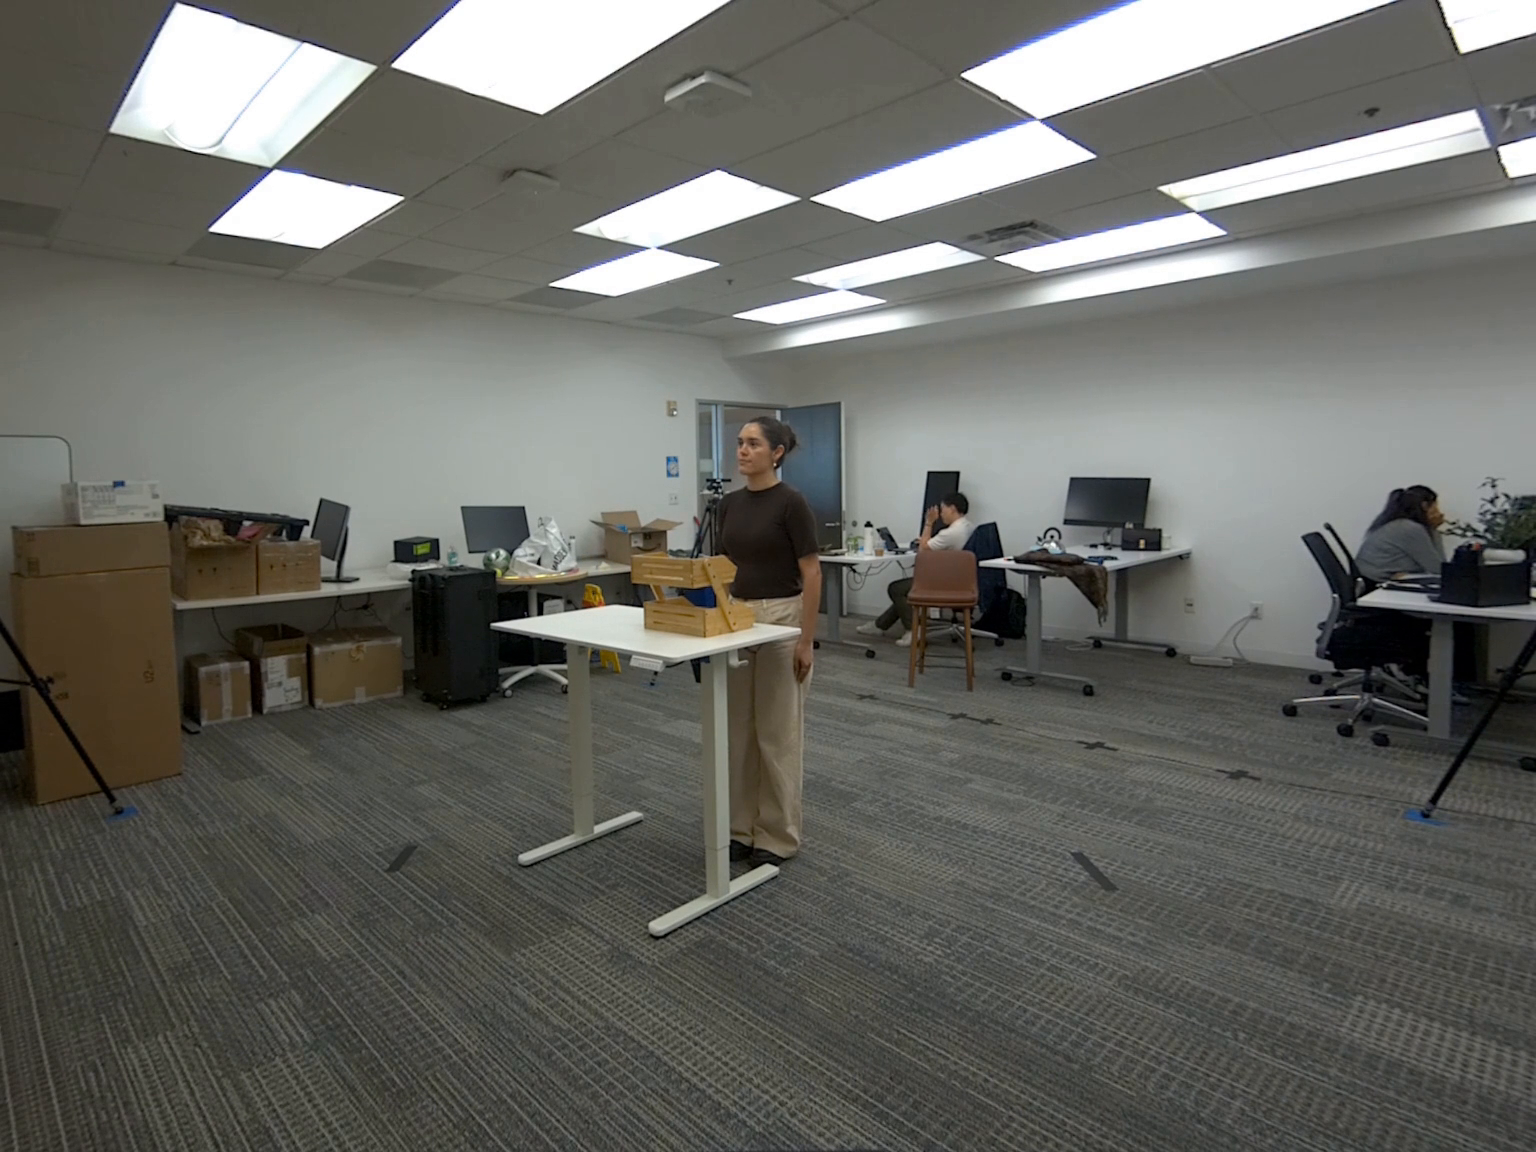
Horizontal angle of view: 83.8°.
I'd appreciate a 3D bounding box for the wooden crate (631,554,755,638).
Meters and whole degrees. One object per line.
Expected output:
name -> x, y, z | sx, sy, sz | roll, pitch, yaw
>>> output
wooden crate -> -0.251, 0.049, 2.938 | 0.334, 0.272, 0.294 | 3, 7, 41
